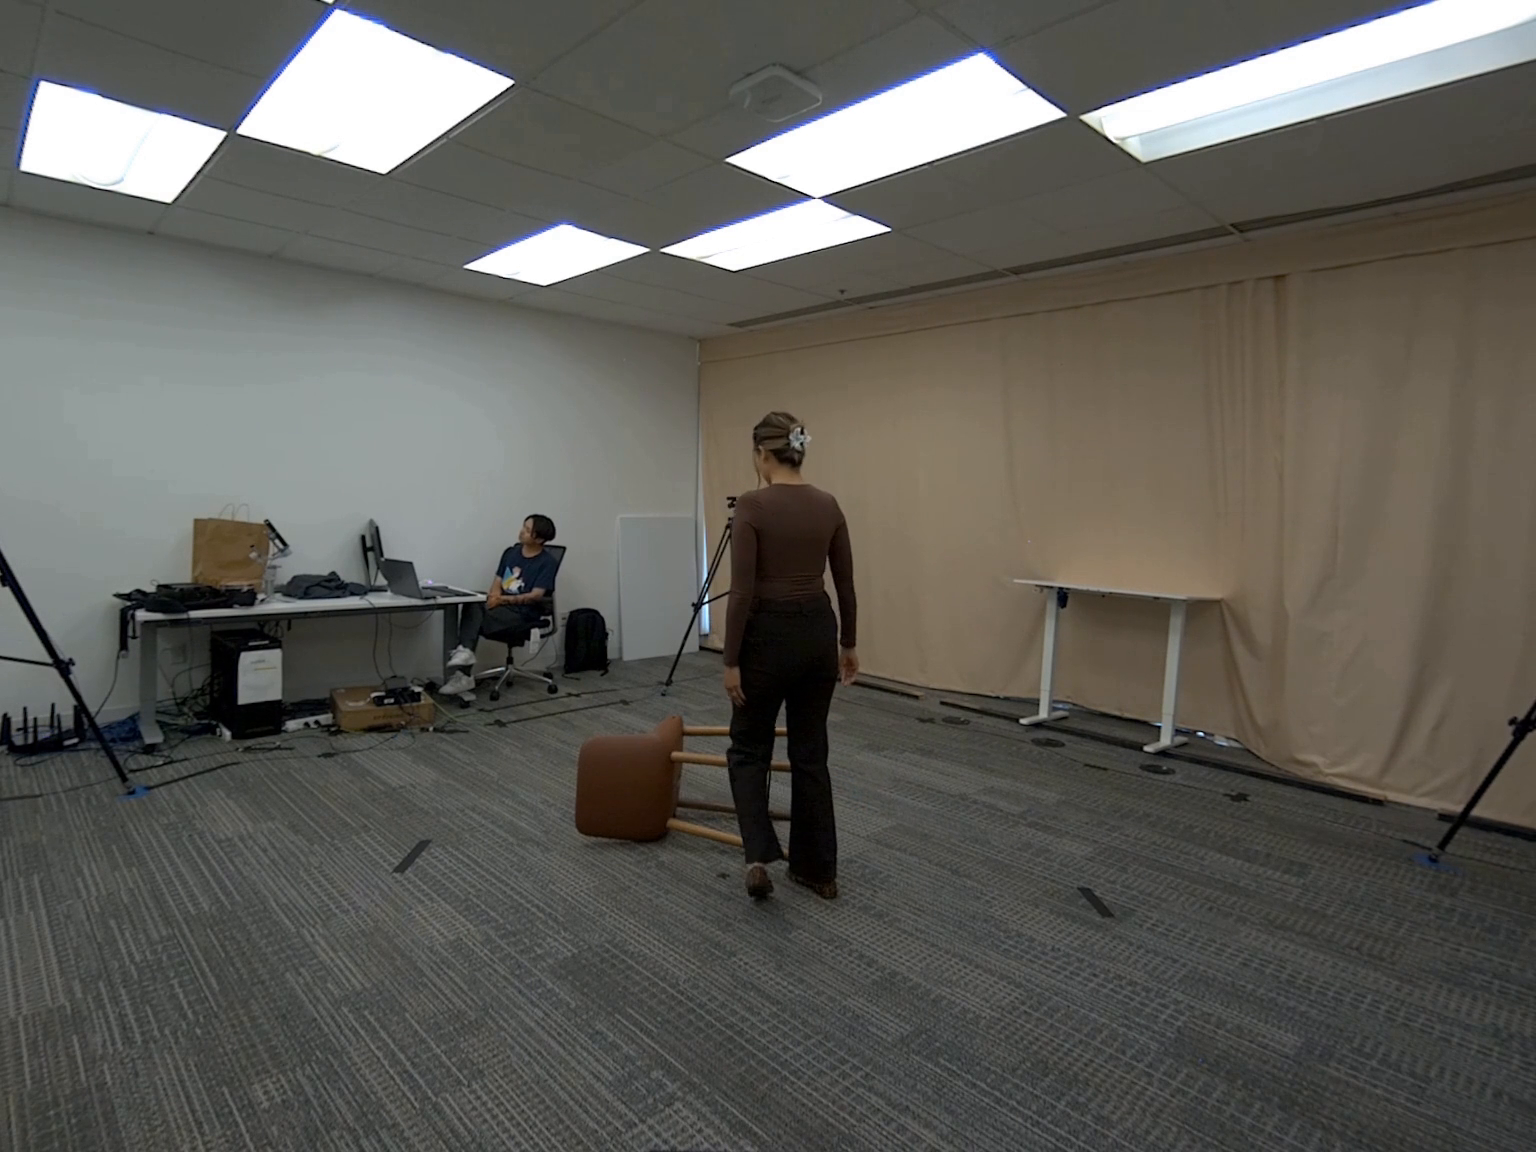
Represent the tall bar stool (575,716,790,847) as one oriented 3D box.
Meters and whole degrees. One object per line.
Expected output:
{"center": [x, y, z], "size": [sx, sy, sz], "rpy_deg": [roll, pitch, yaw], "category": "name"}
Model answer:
{"center": [-0.309, 0.855, 3.491], "size": [0.893, 0.455, 0.467], "rpy_deg": [4, 6, 4], "category": "tall bar stool"}
